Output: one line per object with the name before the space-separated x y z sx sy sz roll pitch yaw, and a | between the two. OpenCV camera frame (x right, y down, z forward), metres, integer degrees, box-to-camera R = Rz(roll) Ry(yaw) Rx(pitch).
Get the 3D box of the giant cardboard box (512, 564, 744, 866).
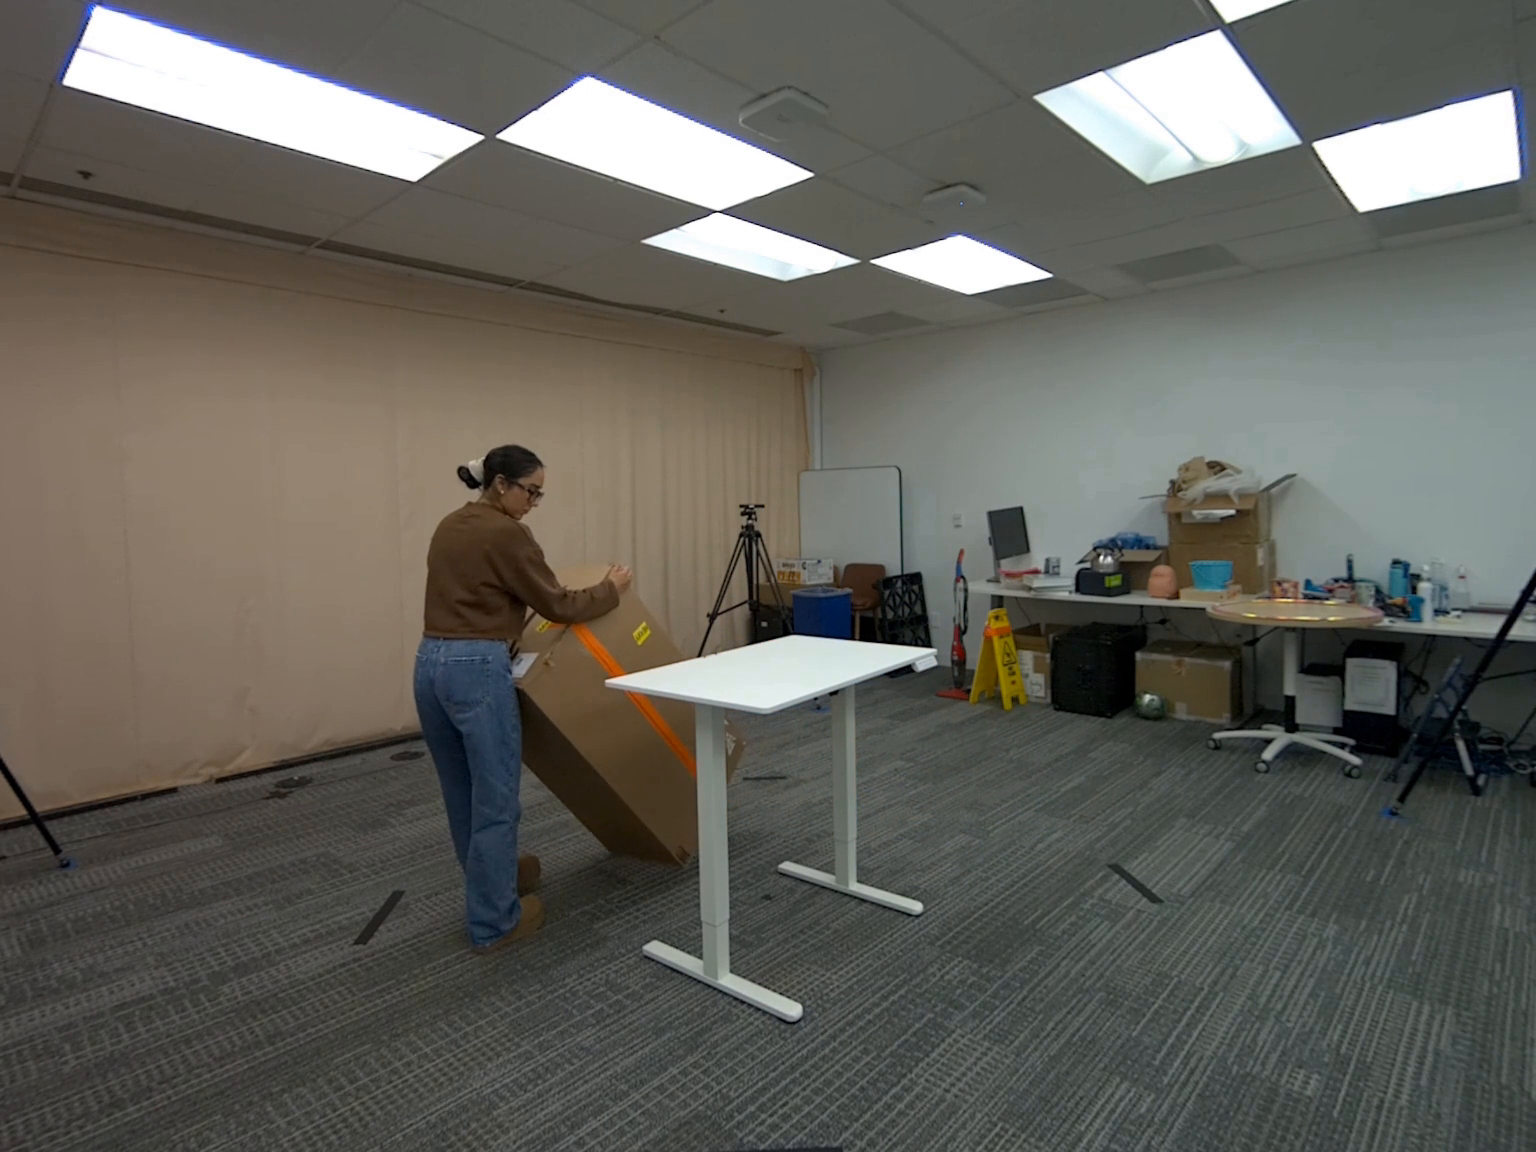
giant cardboard box | -0.594 0.534 3.186 0.439 0.997 0.577 -6 40 38
